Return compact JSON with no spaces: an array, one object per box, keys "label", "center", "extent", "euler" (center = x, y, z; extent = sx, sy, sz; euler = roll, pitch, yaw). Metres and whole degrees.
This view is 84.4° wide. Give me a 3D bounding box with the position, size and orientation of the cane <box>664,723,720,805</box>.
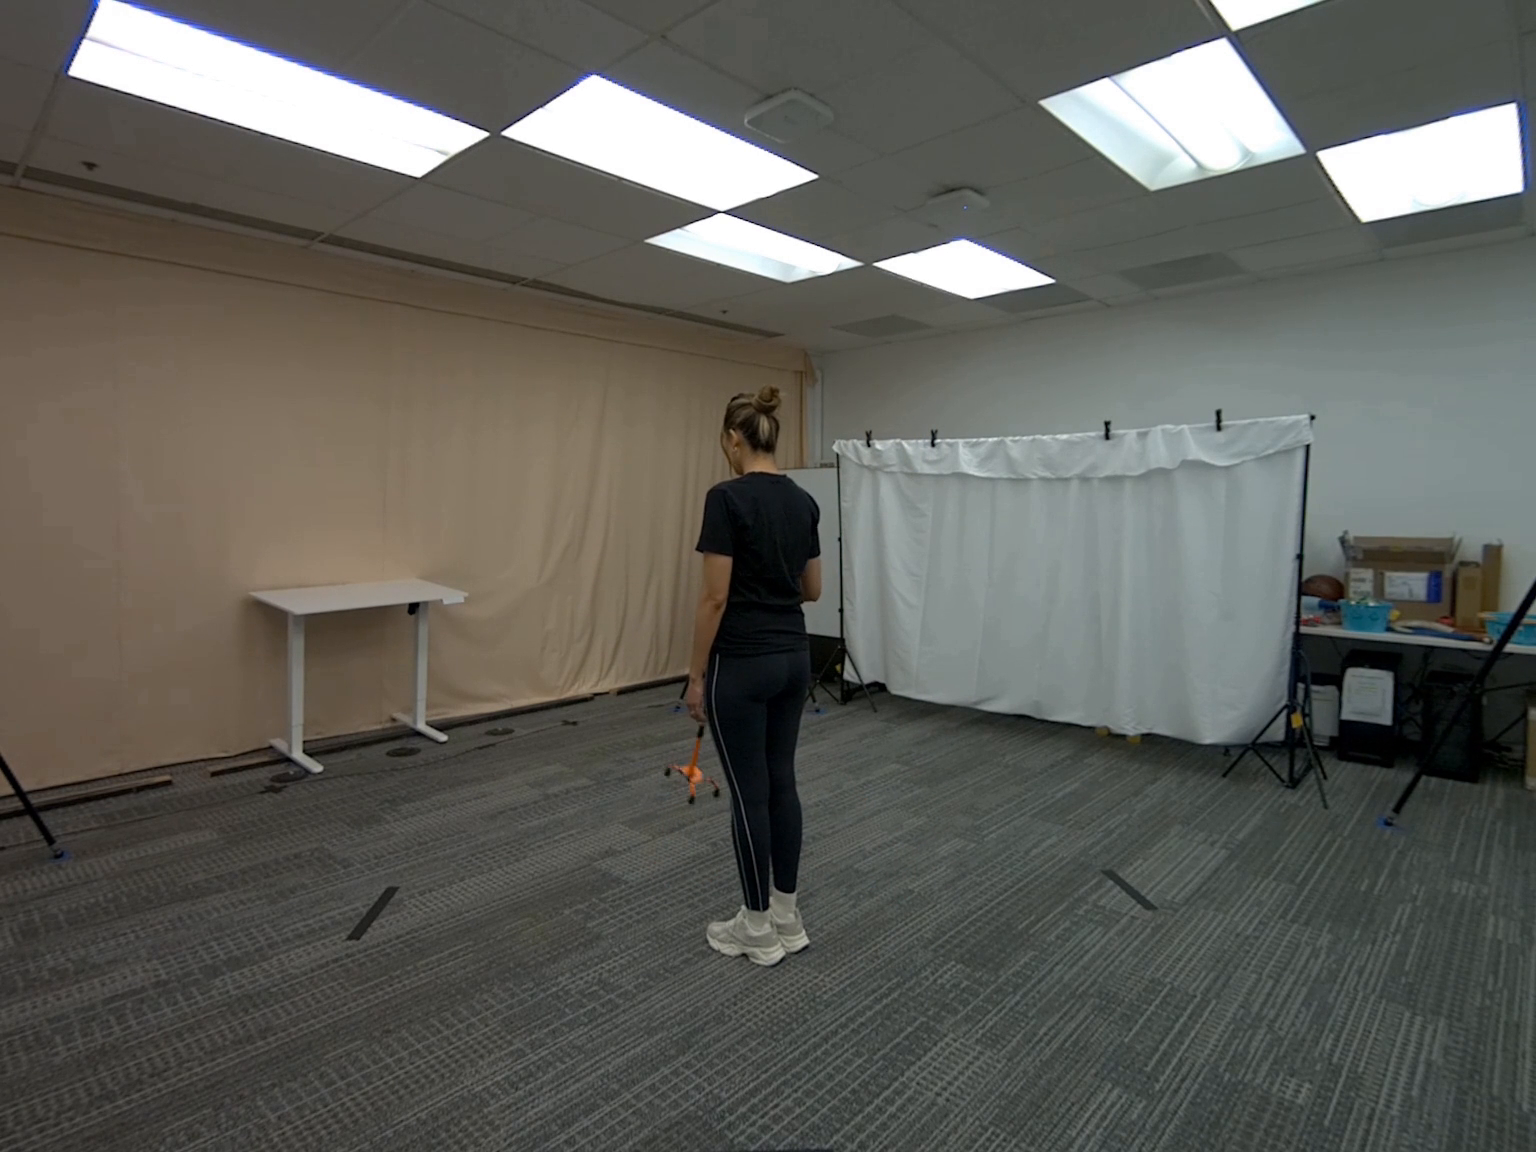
[{"label":"cane","center":[-0.196,0.421,3.198],"extent":[0.147,0.902,0.214],"euler":[-5,26,-43]}]
